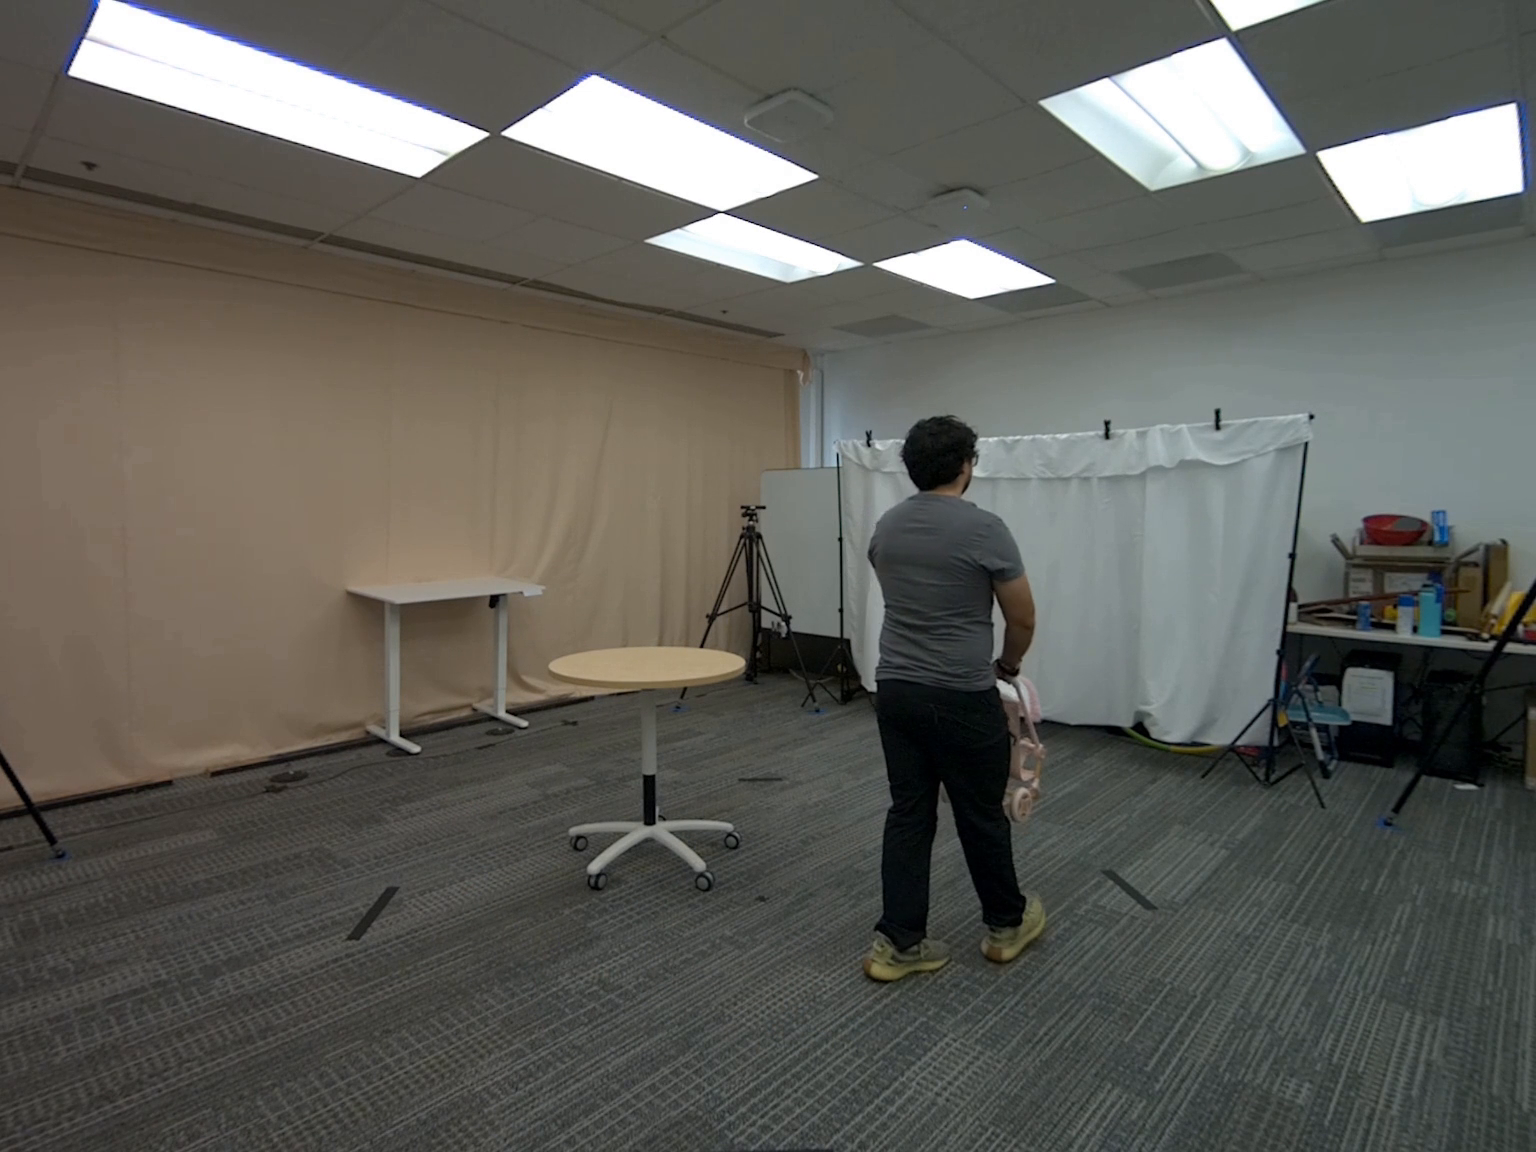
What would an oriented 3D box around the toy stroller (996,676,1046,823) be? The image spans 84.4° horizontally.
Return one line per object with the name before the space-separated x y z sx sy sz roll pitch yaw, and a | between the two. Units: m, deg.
toy stroller | 0.789 0.569 2.817 0.330 0.535 0.290 5 -2 -42
